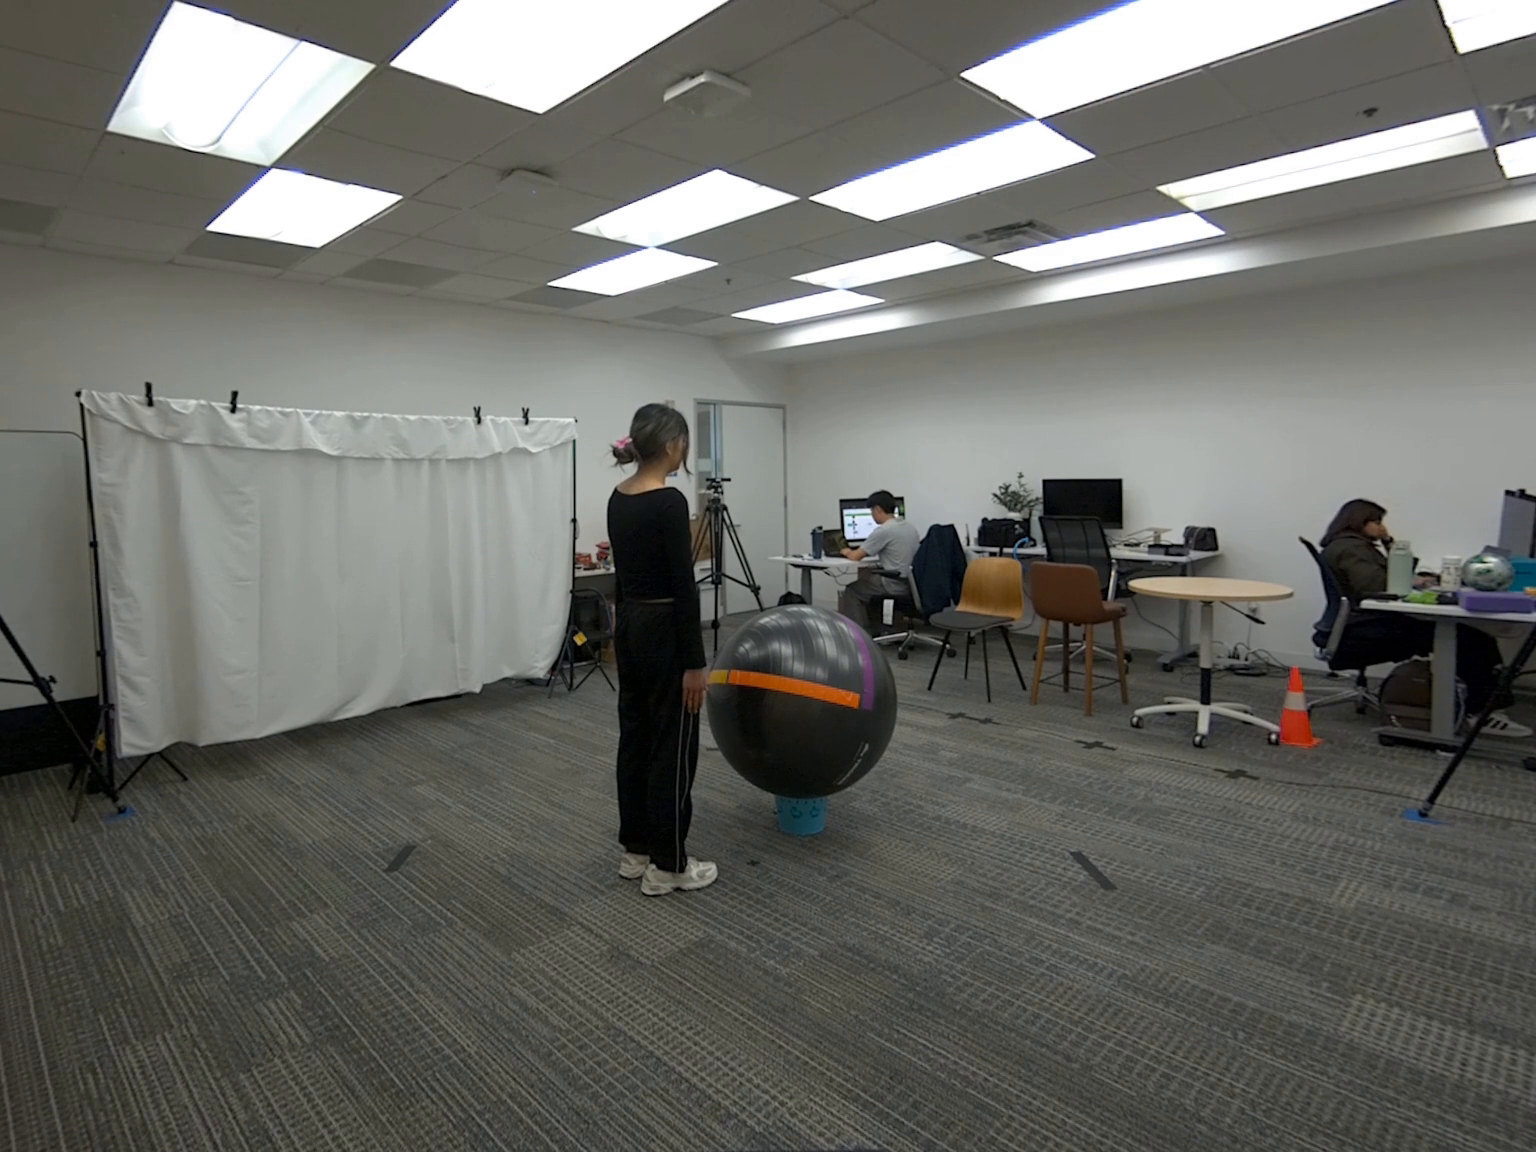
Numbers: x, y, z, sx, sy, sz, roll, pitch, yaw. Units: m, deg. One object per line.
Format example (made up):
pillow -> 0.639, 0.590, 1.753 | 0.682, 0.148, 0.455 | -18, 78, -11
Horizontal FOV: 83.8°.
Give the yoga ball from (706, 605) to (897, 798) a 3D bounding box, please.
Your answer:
yoga ball -> 0.127, 0.499, 3.411 | 0.757, 0.755, 0.762 | -1, 5, -2
